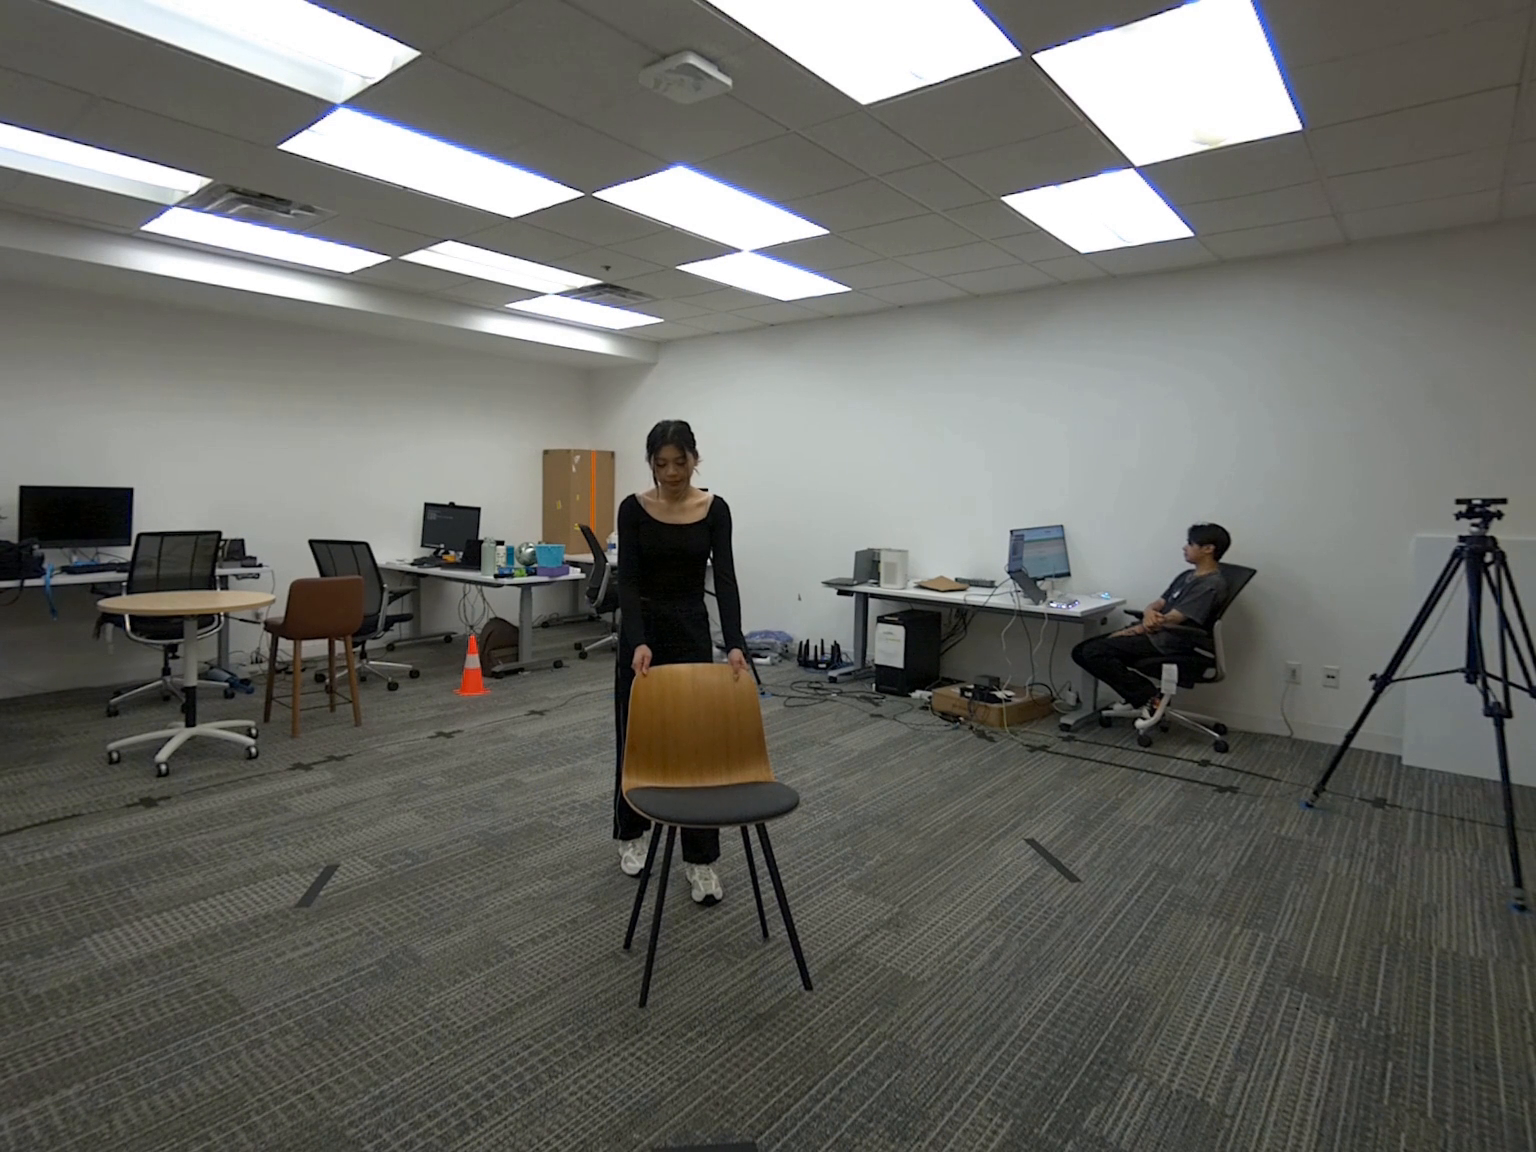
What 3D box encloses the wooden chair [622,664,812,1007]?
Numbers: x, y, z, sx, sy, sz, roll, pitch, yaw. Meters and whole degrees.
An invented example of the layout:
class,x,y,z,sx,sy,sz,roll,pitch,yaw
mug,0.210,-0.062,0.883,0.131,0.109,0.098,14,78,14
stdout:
class,x,y,z,sx,sy,sz,roll,pitch,yaw
wooden chair,-0.171,0.670,2.433,0.471,0.889,0.524,1,-12,-14
